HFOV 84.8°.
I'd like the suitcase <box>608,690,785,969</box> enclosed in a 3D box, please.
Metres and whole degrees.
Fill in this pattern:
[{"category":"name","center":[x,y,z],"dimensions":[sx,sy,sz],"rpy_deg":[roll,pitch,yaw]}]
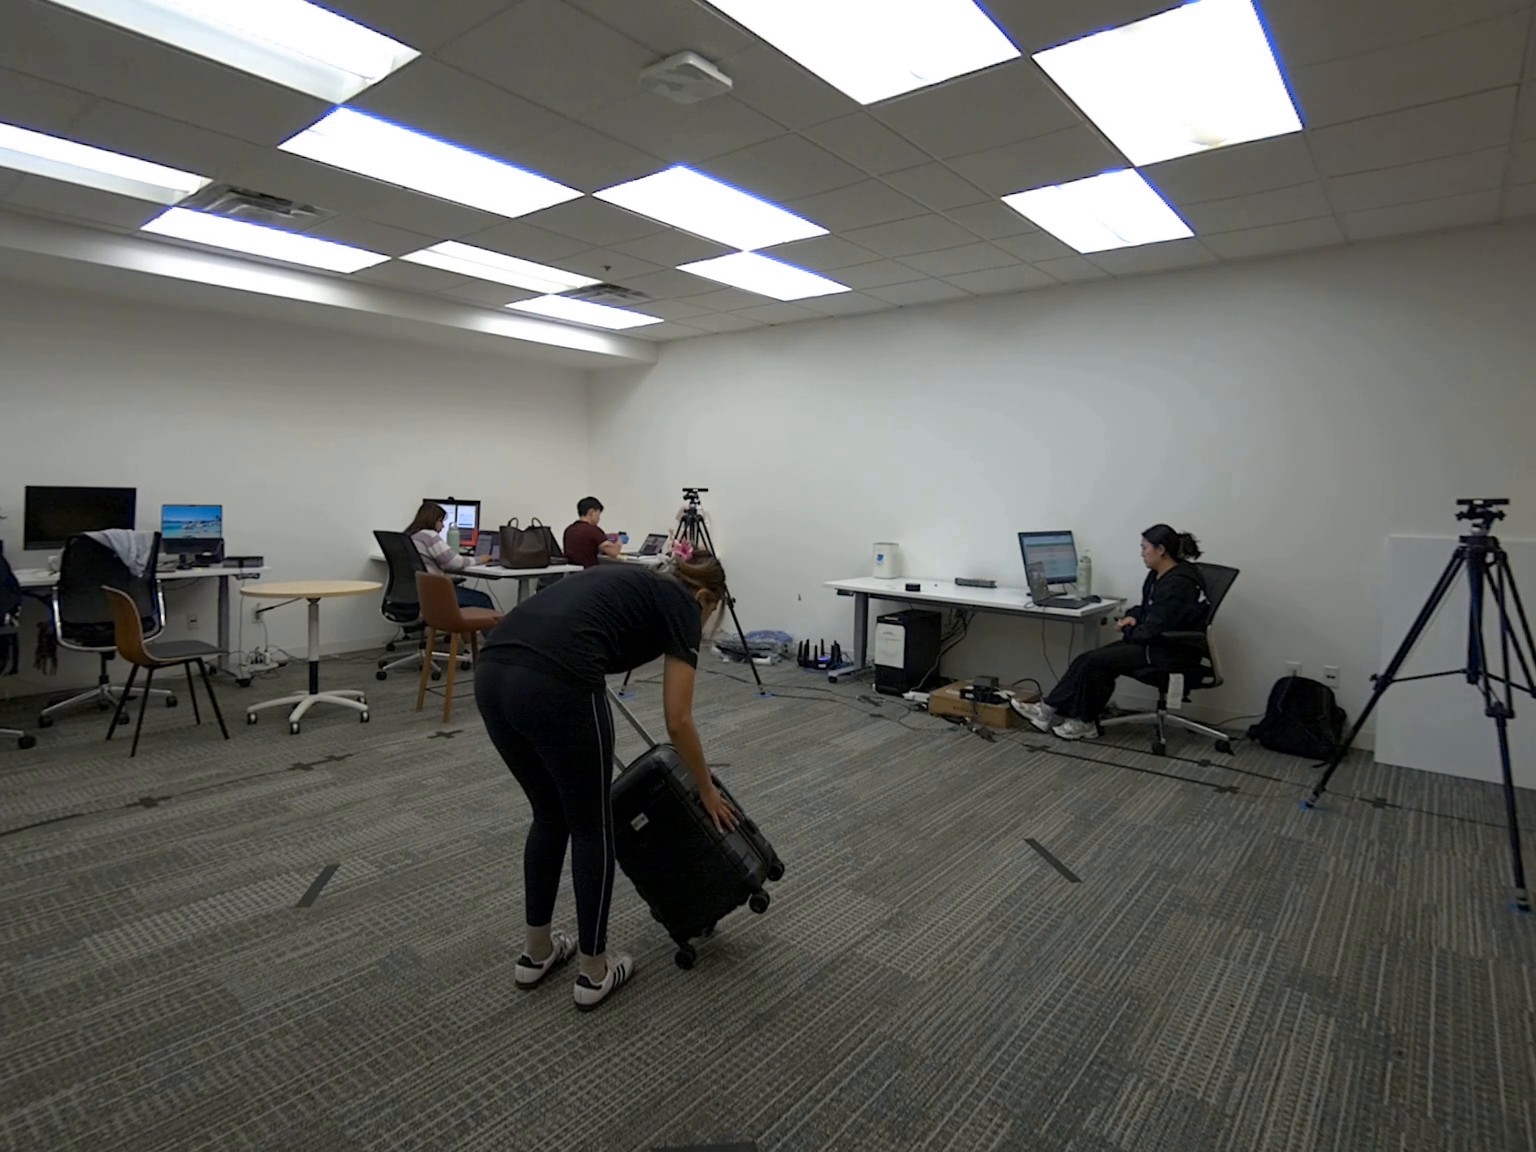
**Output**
[{"category":"suitcase","center":[-0.395,0.642,2.598],"dimensions":[0.385,0.989,0.254],"rpy_deg":[-42,-8,15]}]
